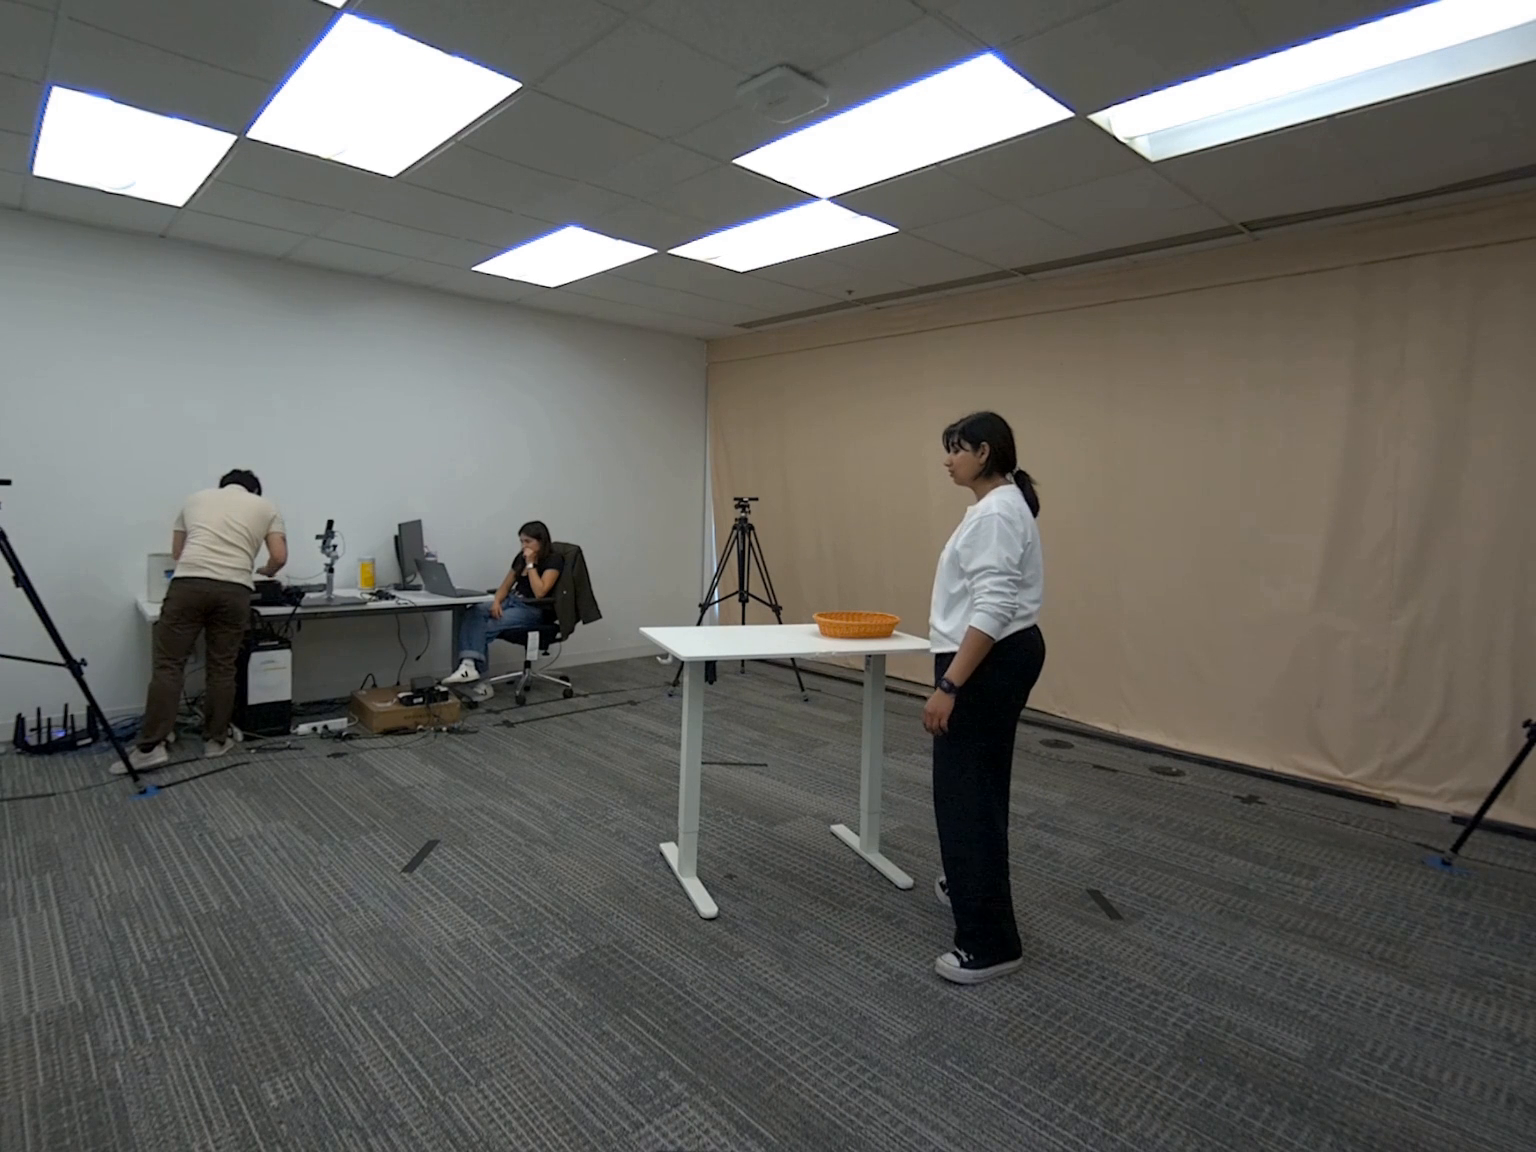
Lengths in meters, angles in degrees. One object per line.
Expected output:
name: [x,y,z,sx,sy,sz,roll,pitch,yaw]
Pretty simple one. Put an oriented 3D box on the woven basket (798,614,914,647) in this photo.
woven basket: [0.328,0.202,3.215,0.345,0.073,0.257,1,6,-19]
